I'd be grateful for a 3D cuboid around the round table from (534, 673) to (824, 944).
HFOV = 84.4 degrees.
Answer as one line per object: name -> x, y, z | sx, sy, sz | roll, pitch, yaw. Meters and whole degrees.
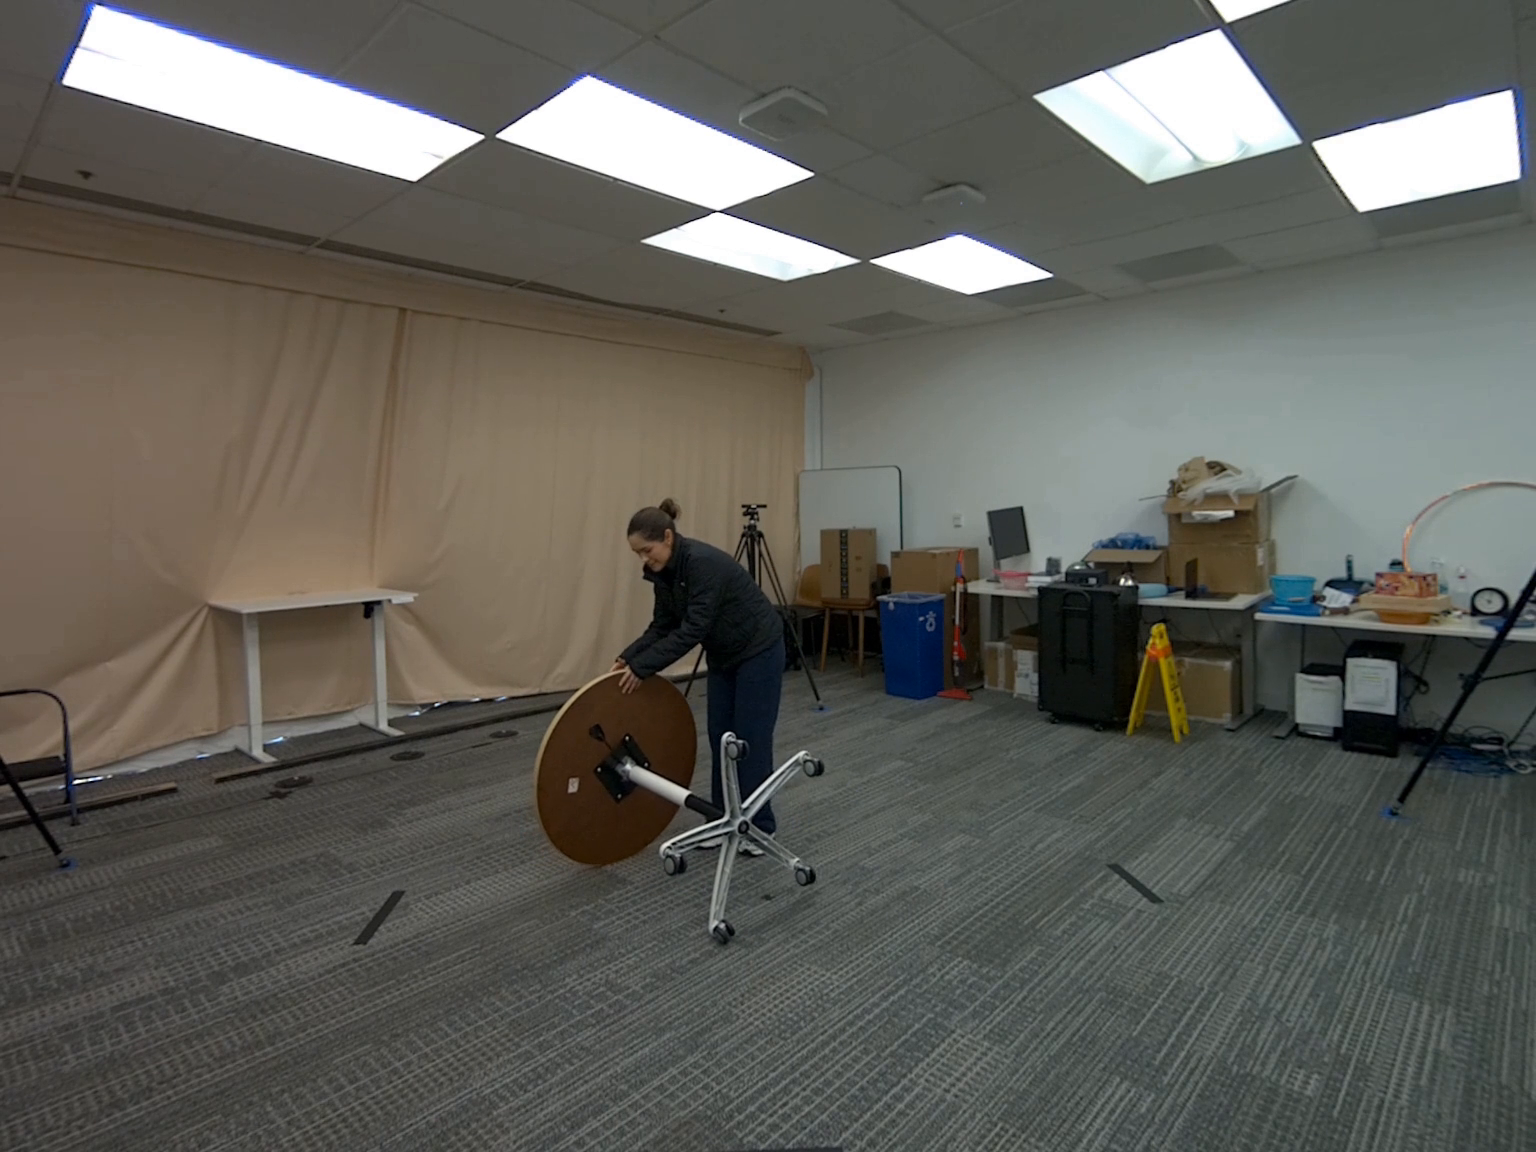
round table -> -0.284, 0.785, 3.016 | 0.761, 0.782, 0.814 | -5, 9, -44
